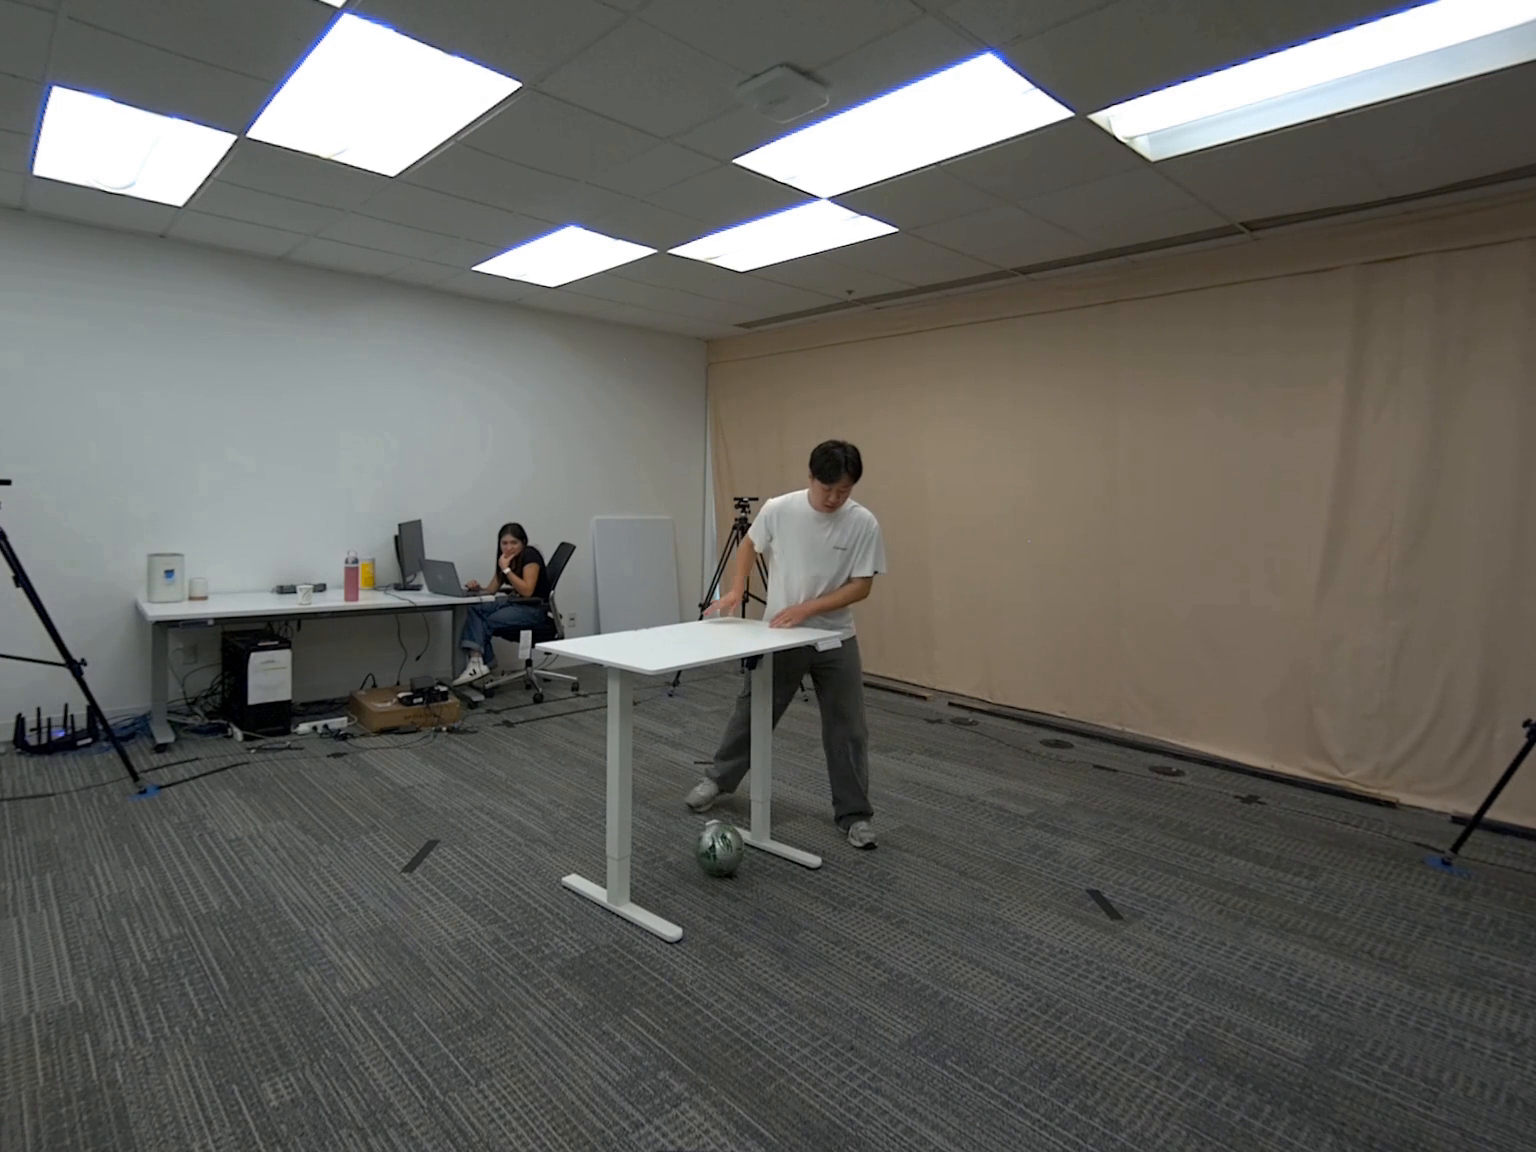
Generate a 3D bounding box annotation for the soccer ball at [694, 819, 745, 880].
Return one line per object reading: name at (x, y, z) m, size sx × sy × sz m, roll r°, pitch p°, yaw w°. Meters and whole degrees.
soccer ball at (-0.194, 1.017, 3.120) m, size 0.187 × 0.187 × 0.188 m, roll 1°, pitch 4°, yaw -1°
